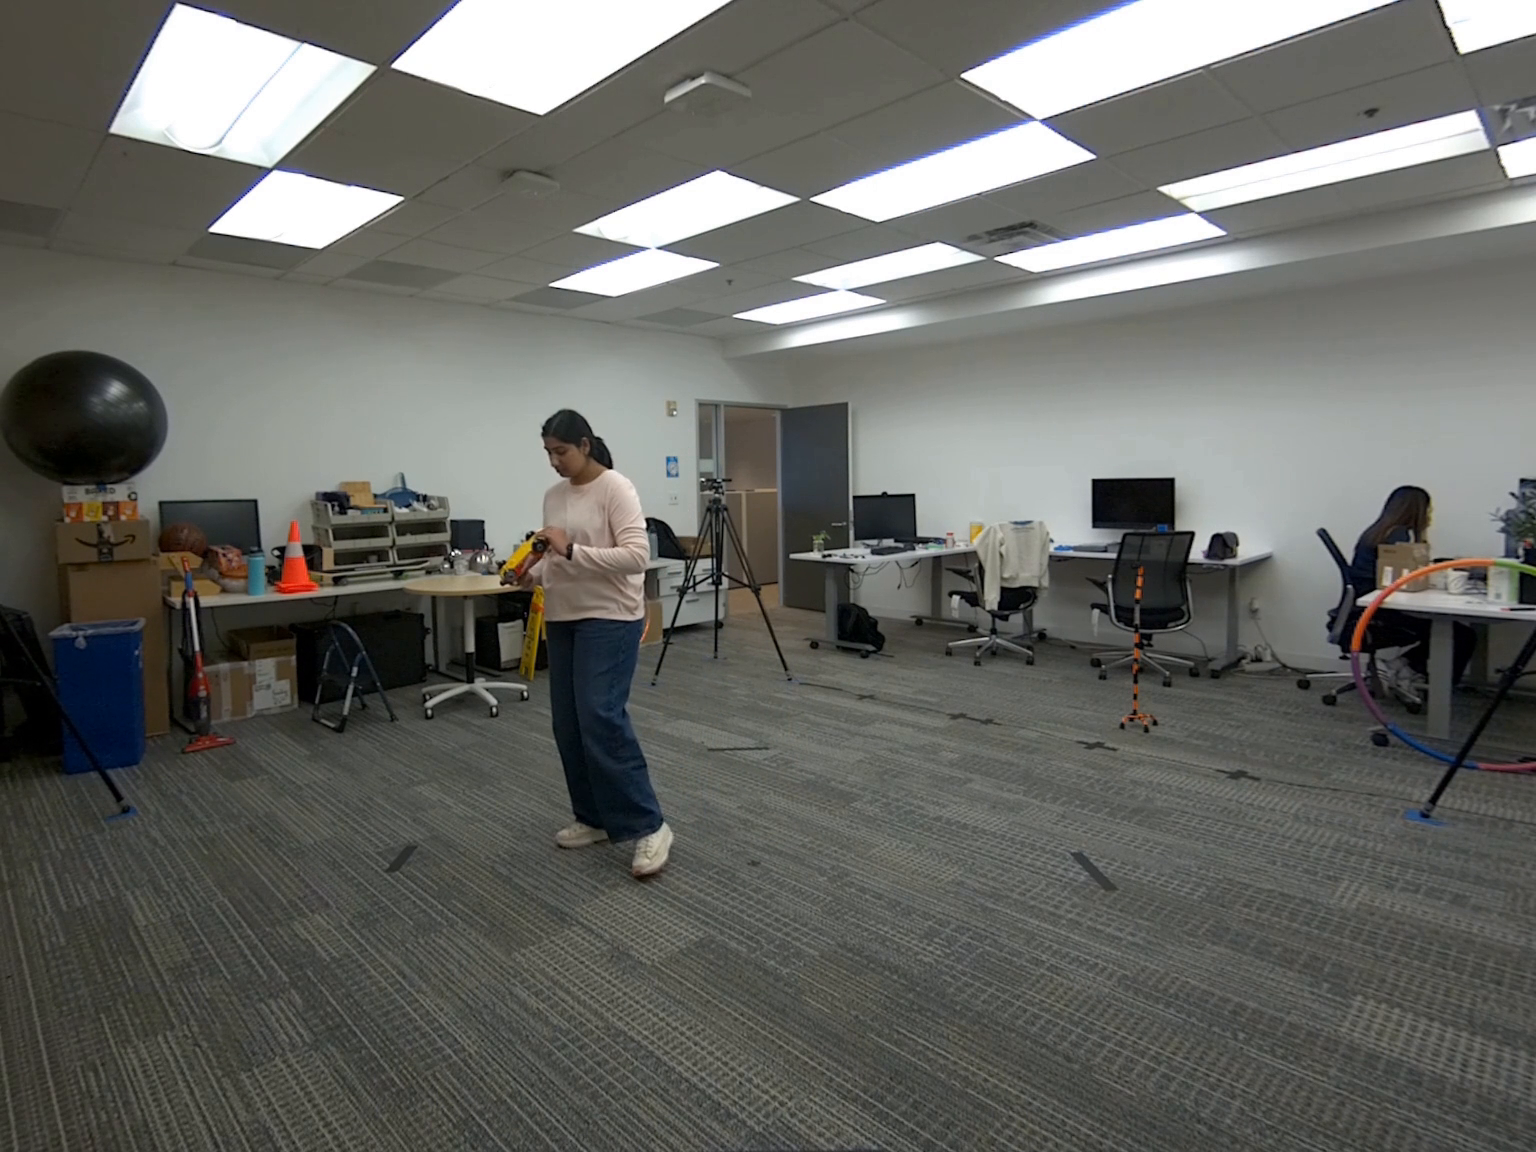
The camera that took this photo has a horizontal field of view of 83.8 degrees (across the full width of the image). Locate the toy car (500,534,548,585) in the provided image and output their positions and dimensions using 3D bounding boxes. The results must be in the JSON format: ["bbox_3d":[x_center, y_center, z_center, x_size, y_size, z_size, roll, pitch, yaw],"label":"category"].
[{"bbox_3d":[-0.876,-0.082,3.097,0.254,0.080,0.135,-38,35,-10],"label":"toy car"}]
